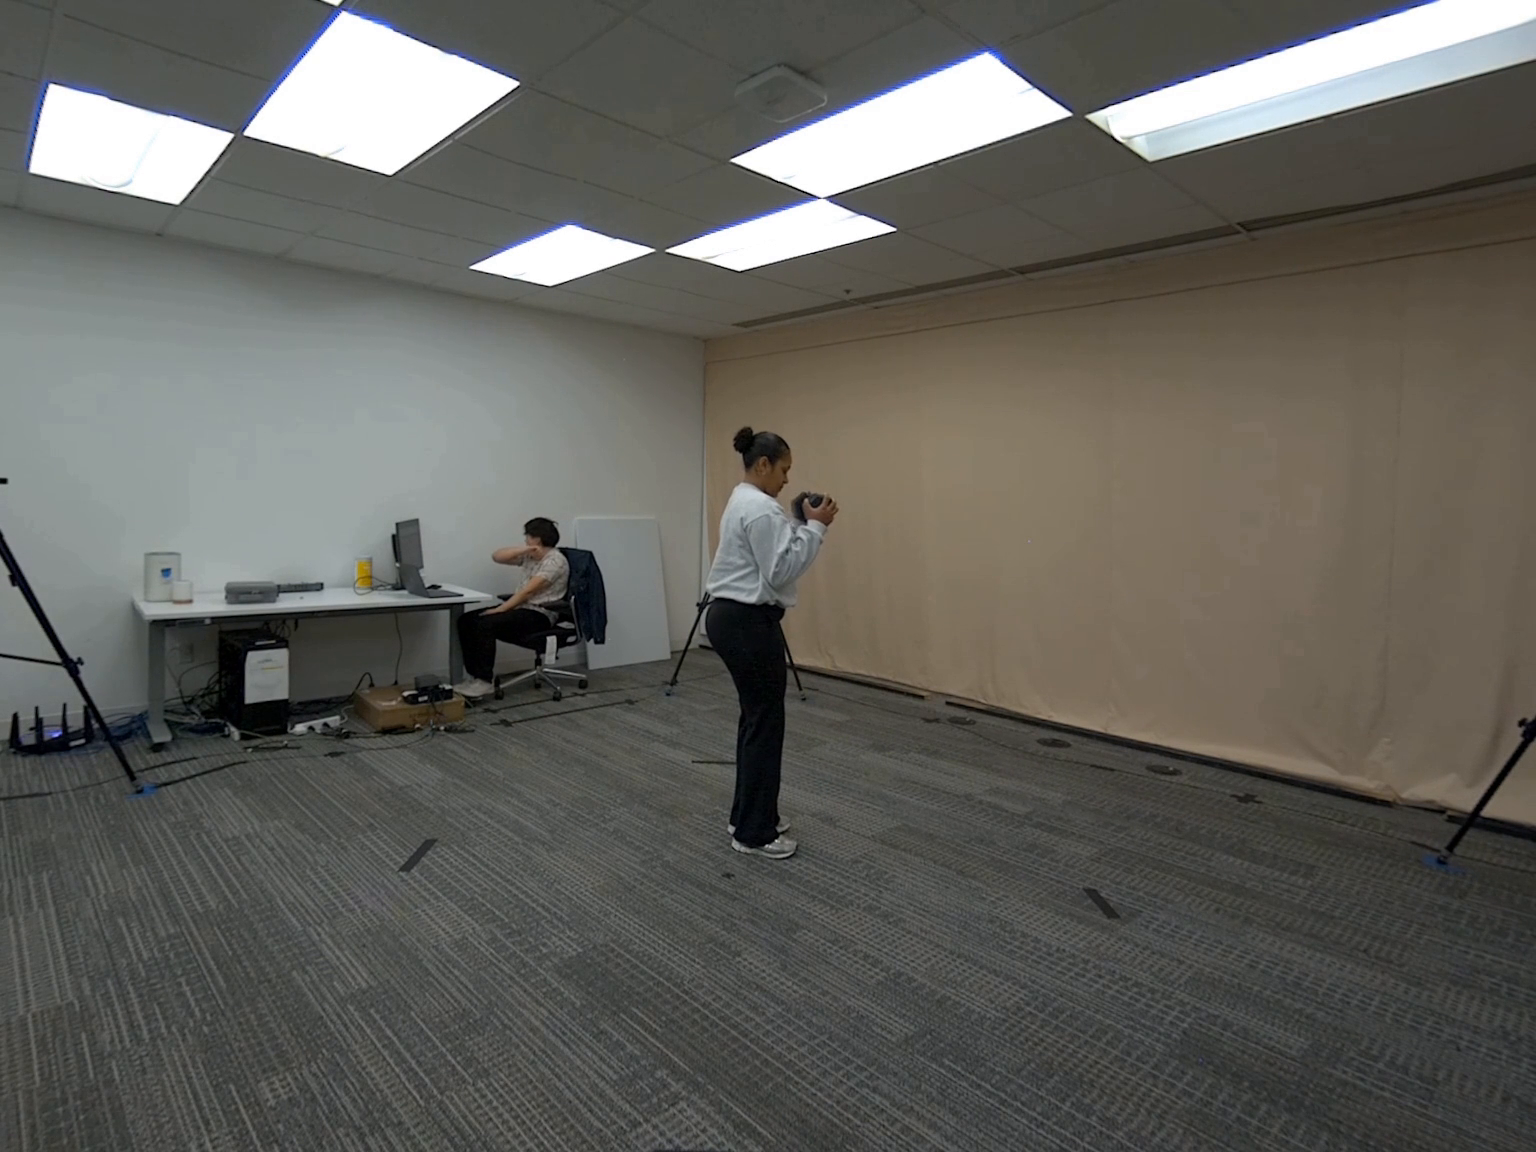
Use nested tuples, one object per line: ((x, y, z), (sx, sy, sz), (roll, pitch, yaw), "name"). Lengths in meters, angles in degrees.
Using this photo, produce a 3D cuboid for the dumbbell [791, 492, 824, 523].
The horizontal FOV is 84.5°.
((0.156, -0.274, 3.372), (0.123, 0.108, 0.295), (-37, 7, 1), "dumbbell")
